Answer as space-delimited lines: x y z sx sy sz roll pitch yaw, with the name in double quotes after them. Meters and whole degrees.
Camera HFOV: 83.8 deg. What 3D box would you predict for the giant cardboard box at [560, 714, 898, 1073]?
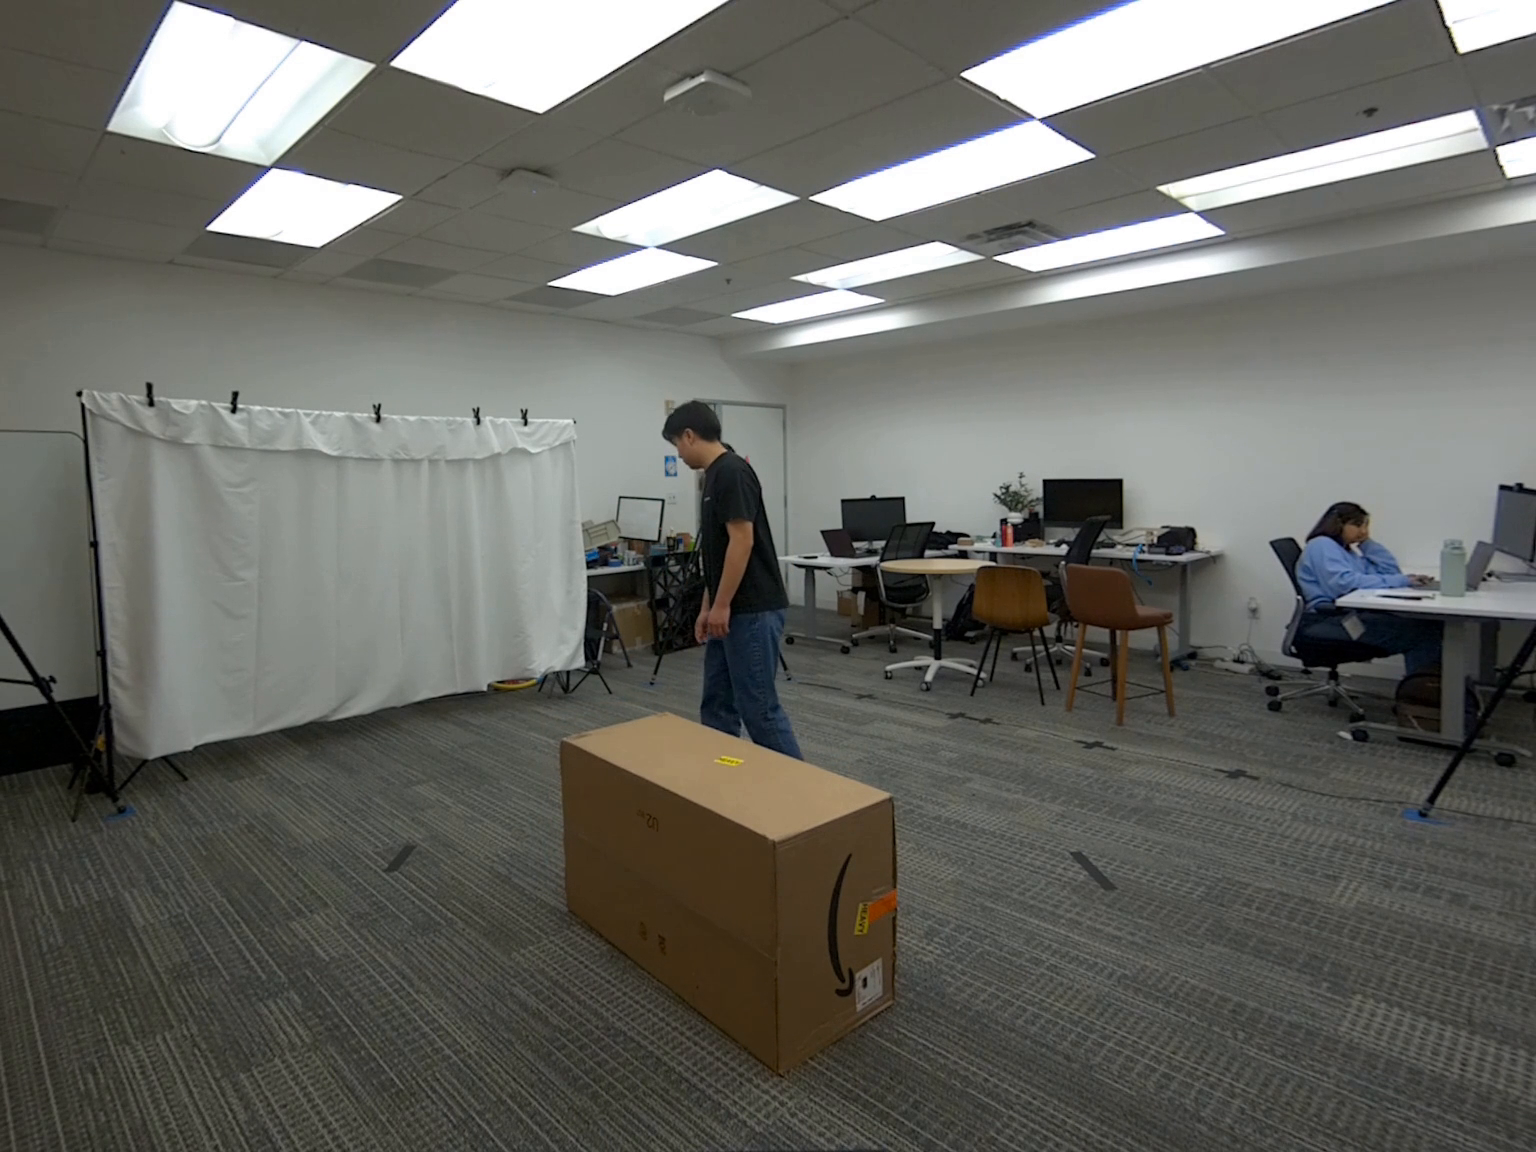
-0.159 0.827 2.505 0.435 0.581 1.059 -4 7 -41 "giant cardboard box"
